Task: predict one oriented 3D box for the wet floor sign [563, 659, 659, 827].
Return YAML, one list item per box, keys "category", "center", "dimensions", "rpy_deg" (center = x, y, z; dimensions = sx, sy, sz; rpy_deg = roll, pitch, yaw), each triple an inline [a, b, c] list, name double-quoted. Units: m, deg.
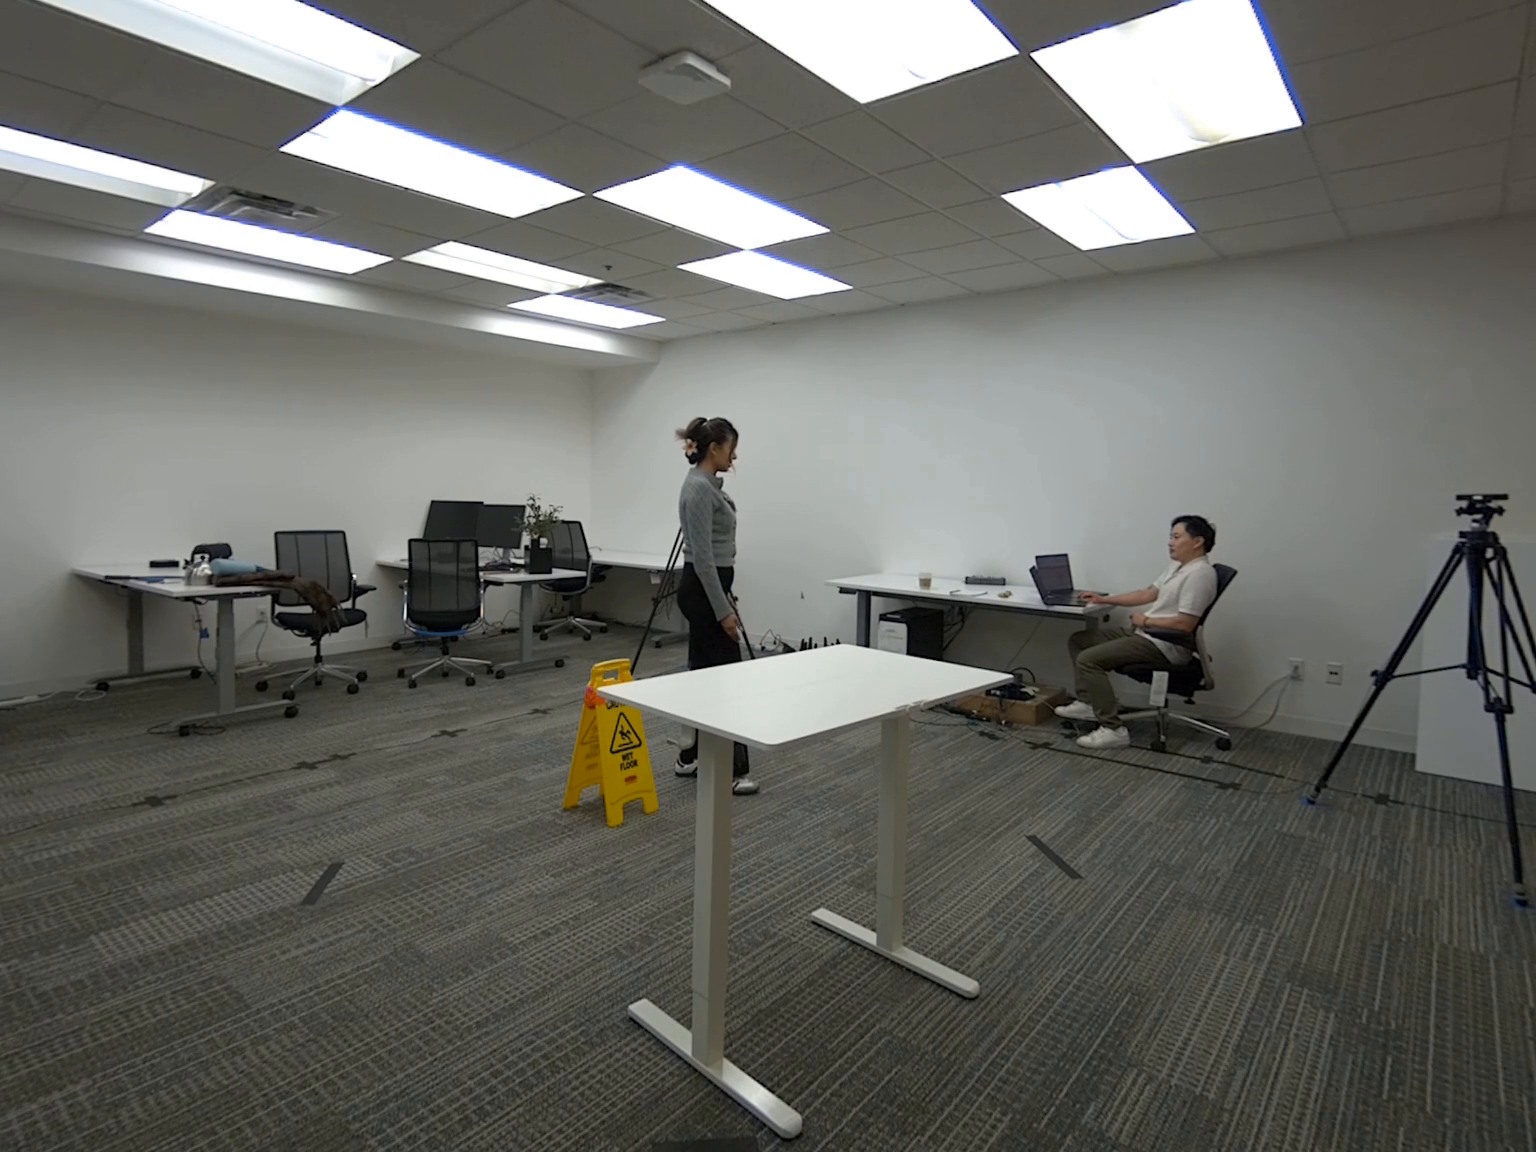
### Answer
- category: "wet floor sign"
  center: [-0.685, 0.685, 3.656]
  dimensions: [0.299, 0.644, 0.274]
  rpy_deg: [3, 4, 40]
